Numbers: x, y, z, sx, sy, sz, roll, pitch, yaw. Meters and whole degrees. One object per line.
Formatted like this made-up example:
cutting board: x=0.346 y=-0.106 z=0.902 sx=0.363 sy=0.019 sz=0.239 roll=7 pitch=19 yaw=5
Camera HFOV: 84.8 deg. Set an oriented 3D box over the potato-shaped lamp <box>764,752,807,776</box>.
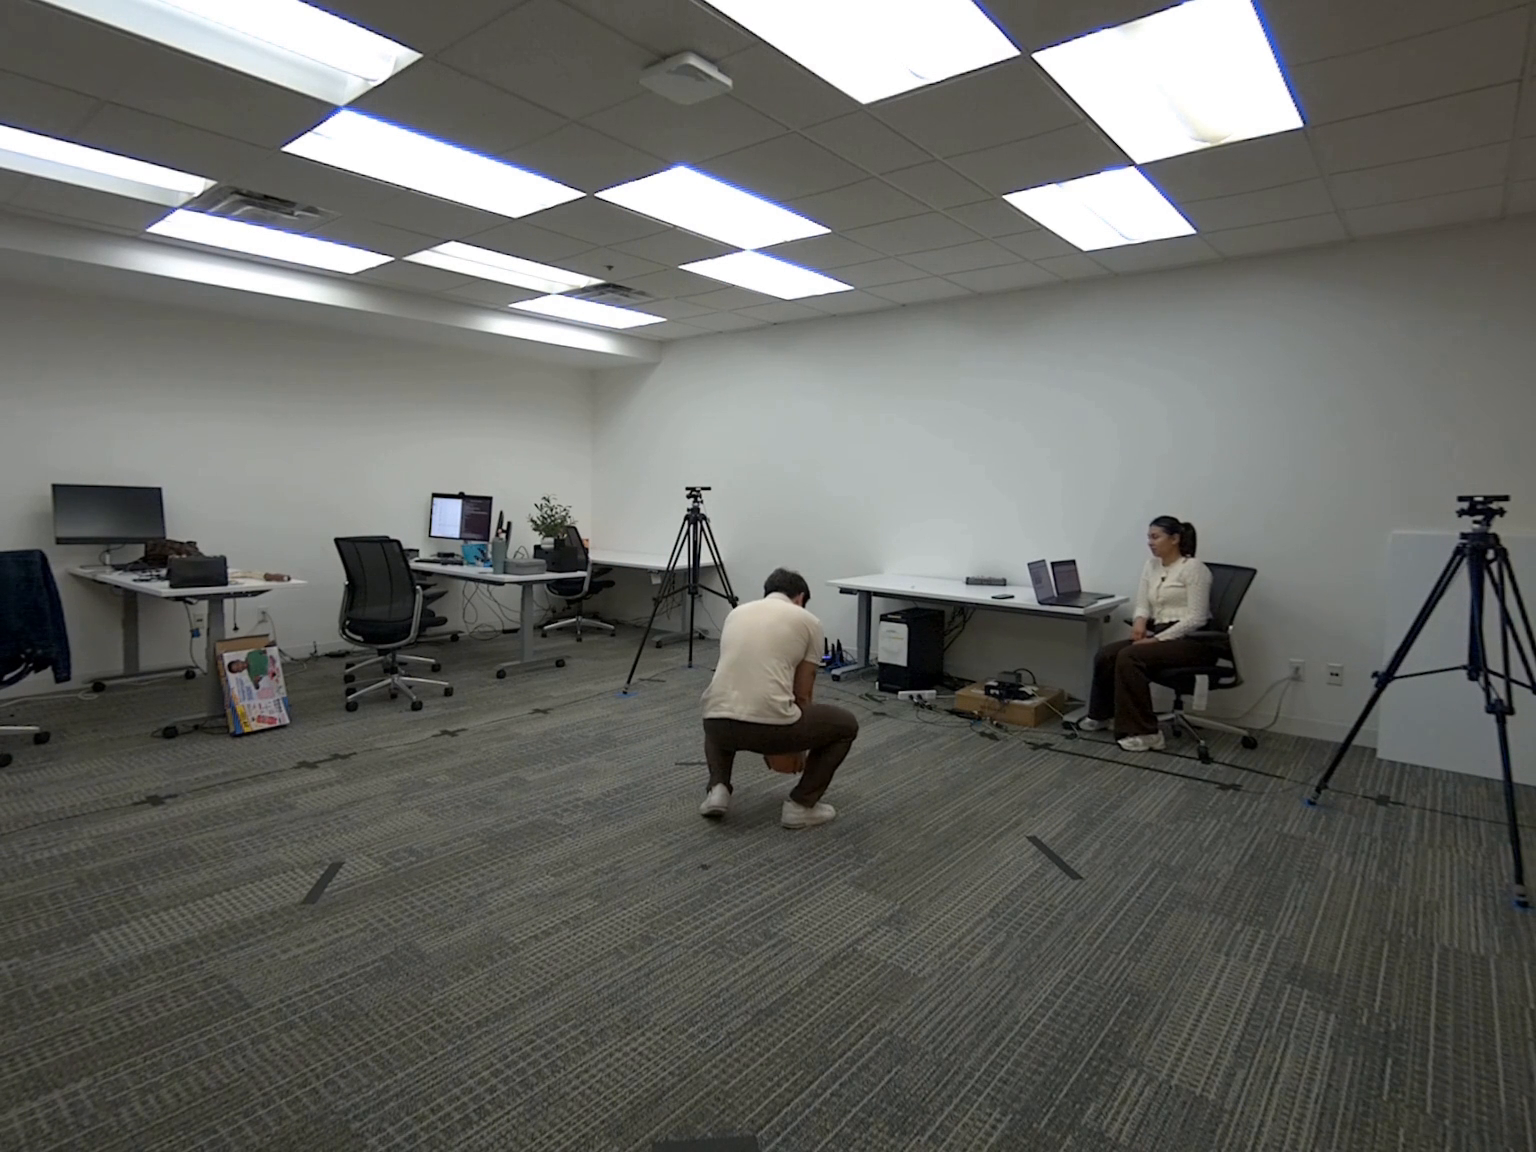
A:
potato-shaped lamp: x=0.067 y=0.772 z=3.815 sx=0.169 sy=0.198 sz=0.167 roll=2 pitch=1 yaw=30
